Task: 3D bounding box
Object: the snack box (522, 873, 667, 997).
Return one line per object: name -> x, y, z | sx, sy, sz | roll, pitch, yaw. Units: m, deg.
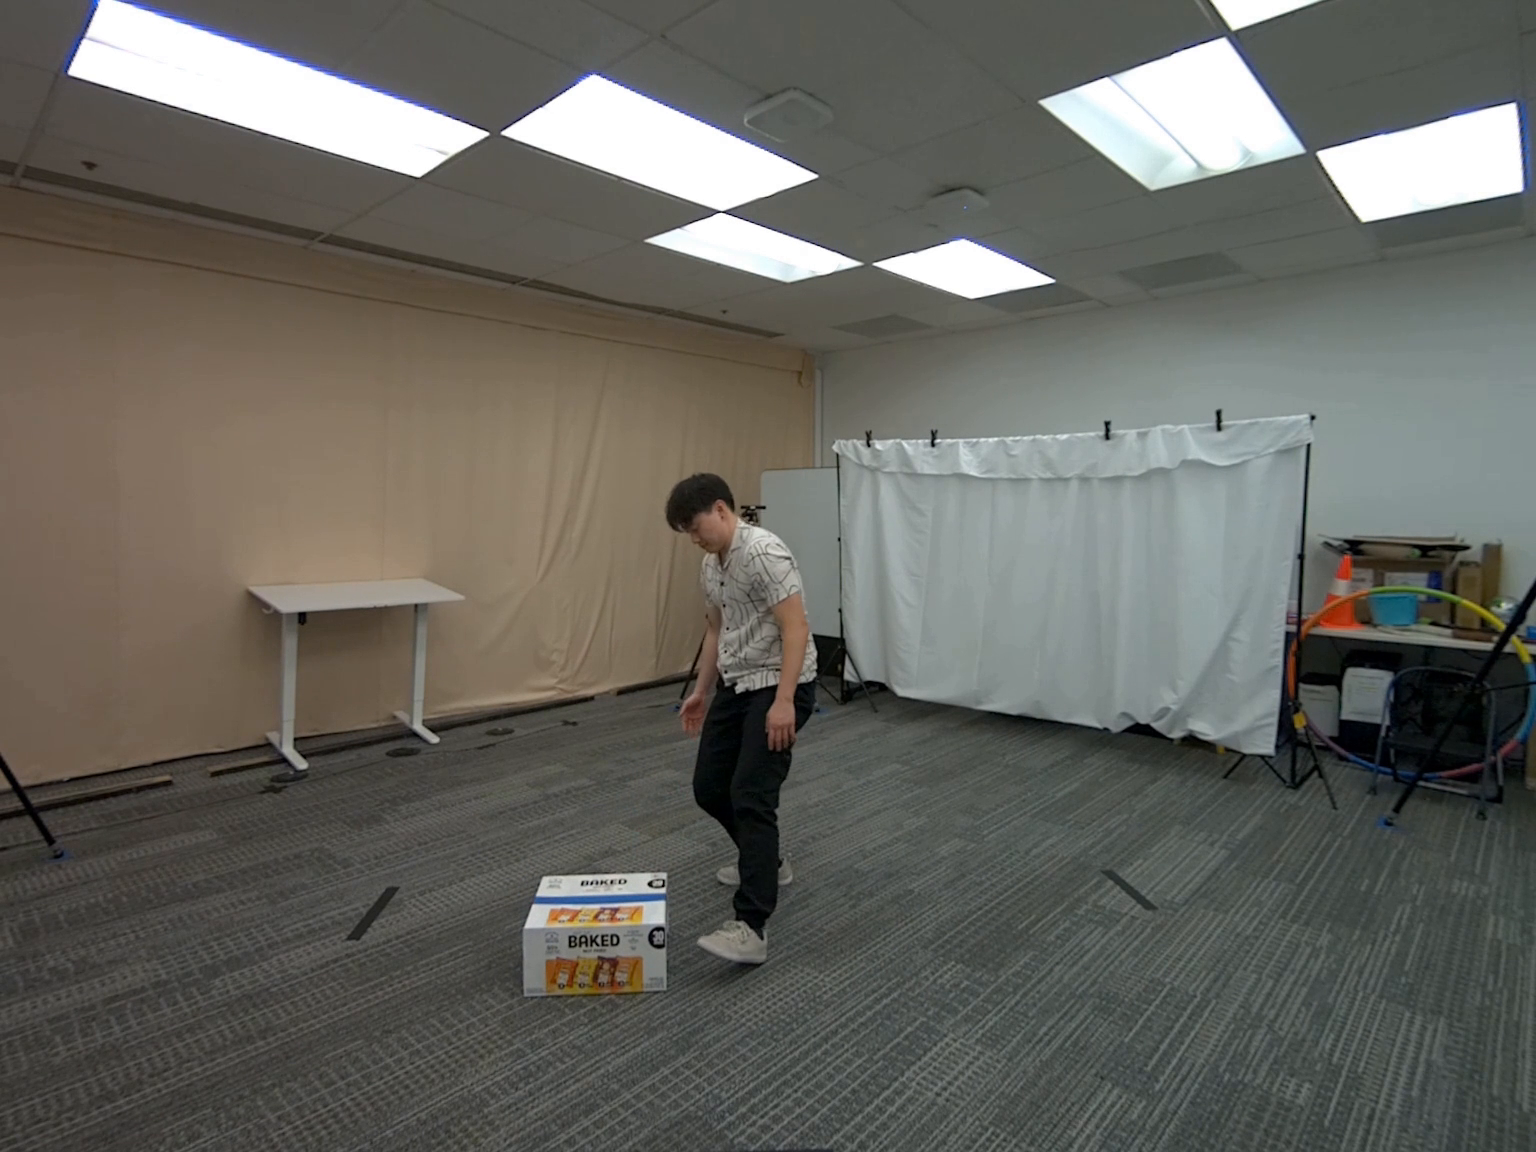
snack box -> -0.512, 1.084, 2.555 | 0.404, 0.205, 0.342 | -1, 4, -4
